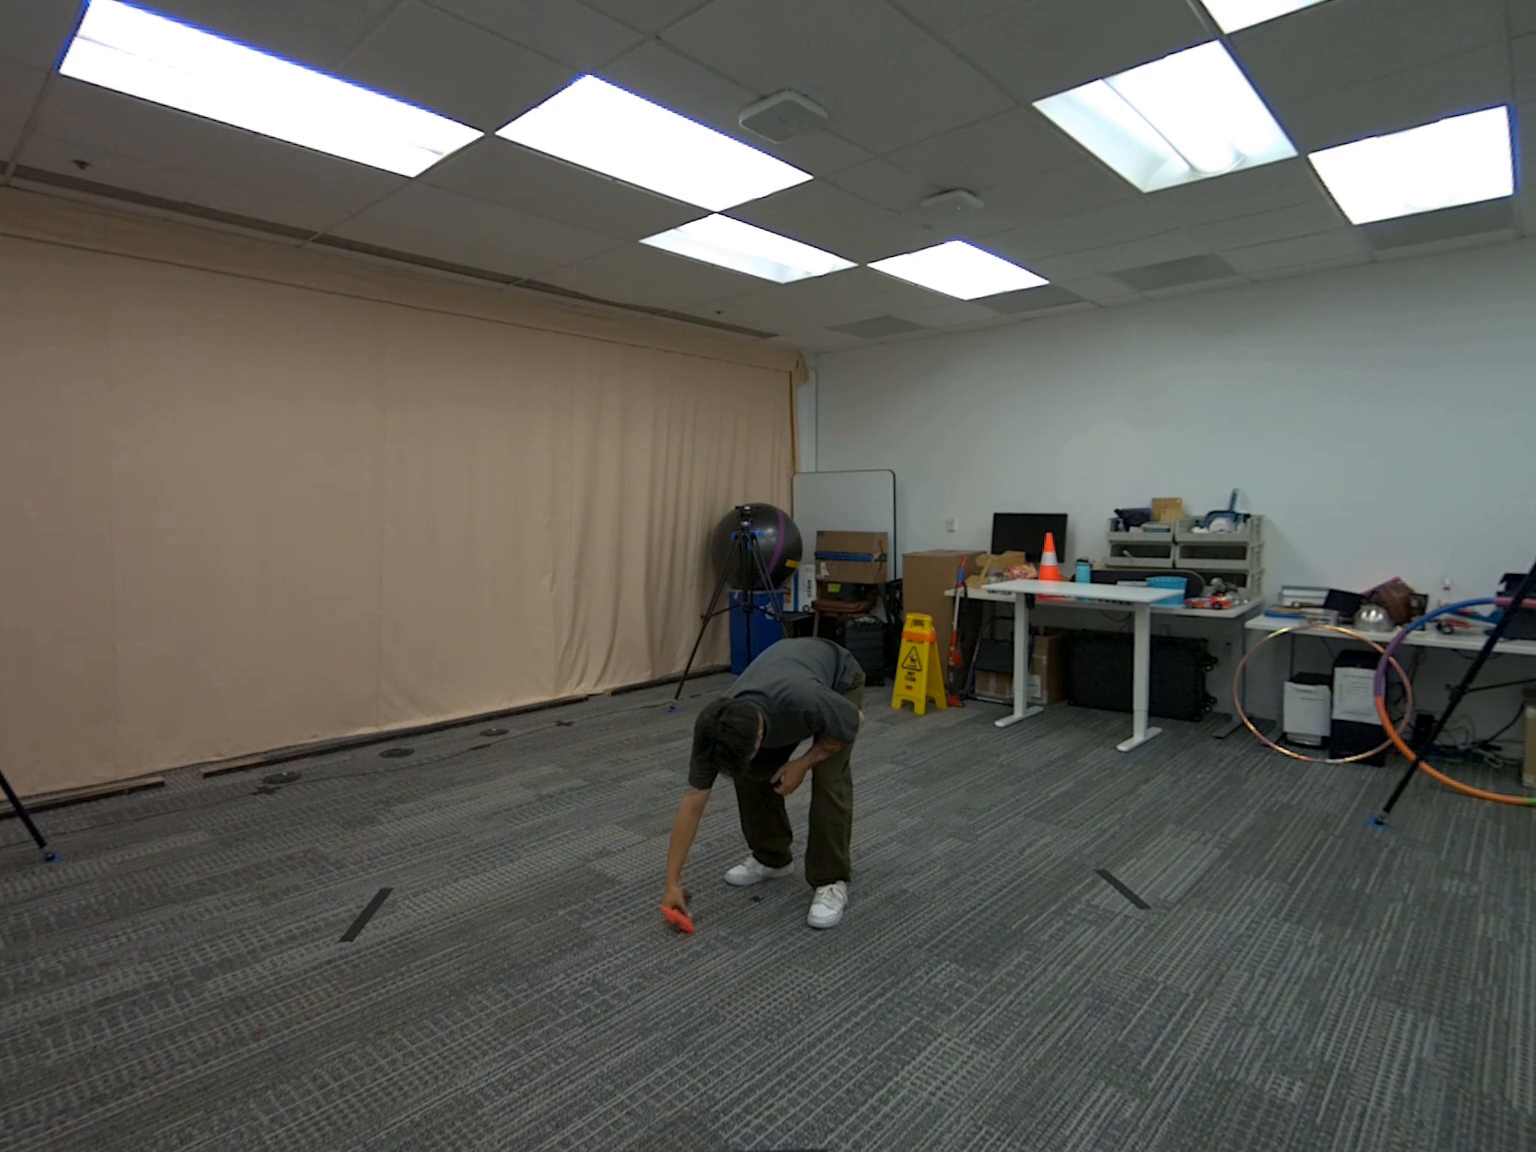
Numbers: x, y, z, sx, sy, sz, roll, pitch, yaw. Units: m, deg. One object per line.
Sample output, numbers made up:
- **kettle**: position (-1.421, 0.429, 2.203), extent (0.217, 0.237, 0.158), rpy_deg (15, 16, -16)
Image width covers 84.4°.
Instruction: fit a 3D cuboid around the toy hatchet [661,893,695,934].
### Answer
- **toy hatchet**: position (-0.264, 1.136, 2.851), extent (0.133, 0.029, 0.265), rpy_deg (26, -1, 14)
